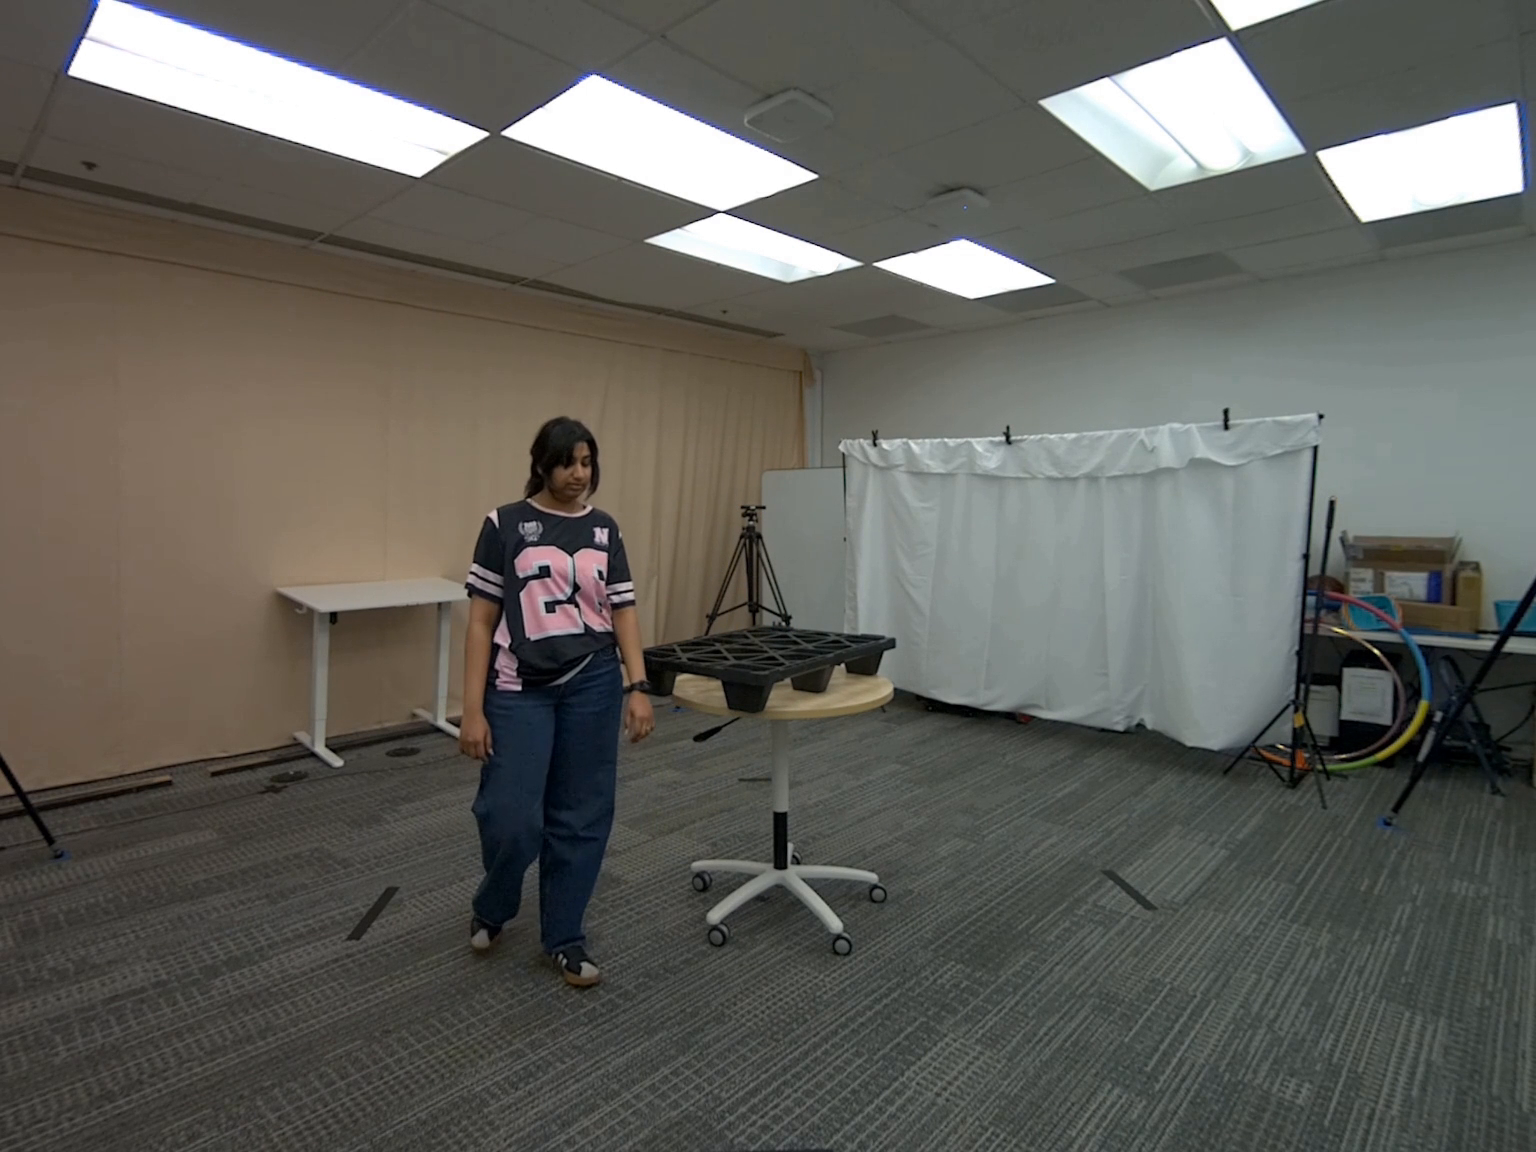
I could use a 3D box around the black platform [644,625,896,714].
[{"bbox_3d":[-0.018,0.310,2.876,0.625,0.143,0.782,2,6,38],"label":"black platform"}]
